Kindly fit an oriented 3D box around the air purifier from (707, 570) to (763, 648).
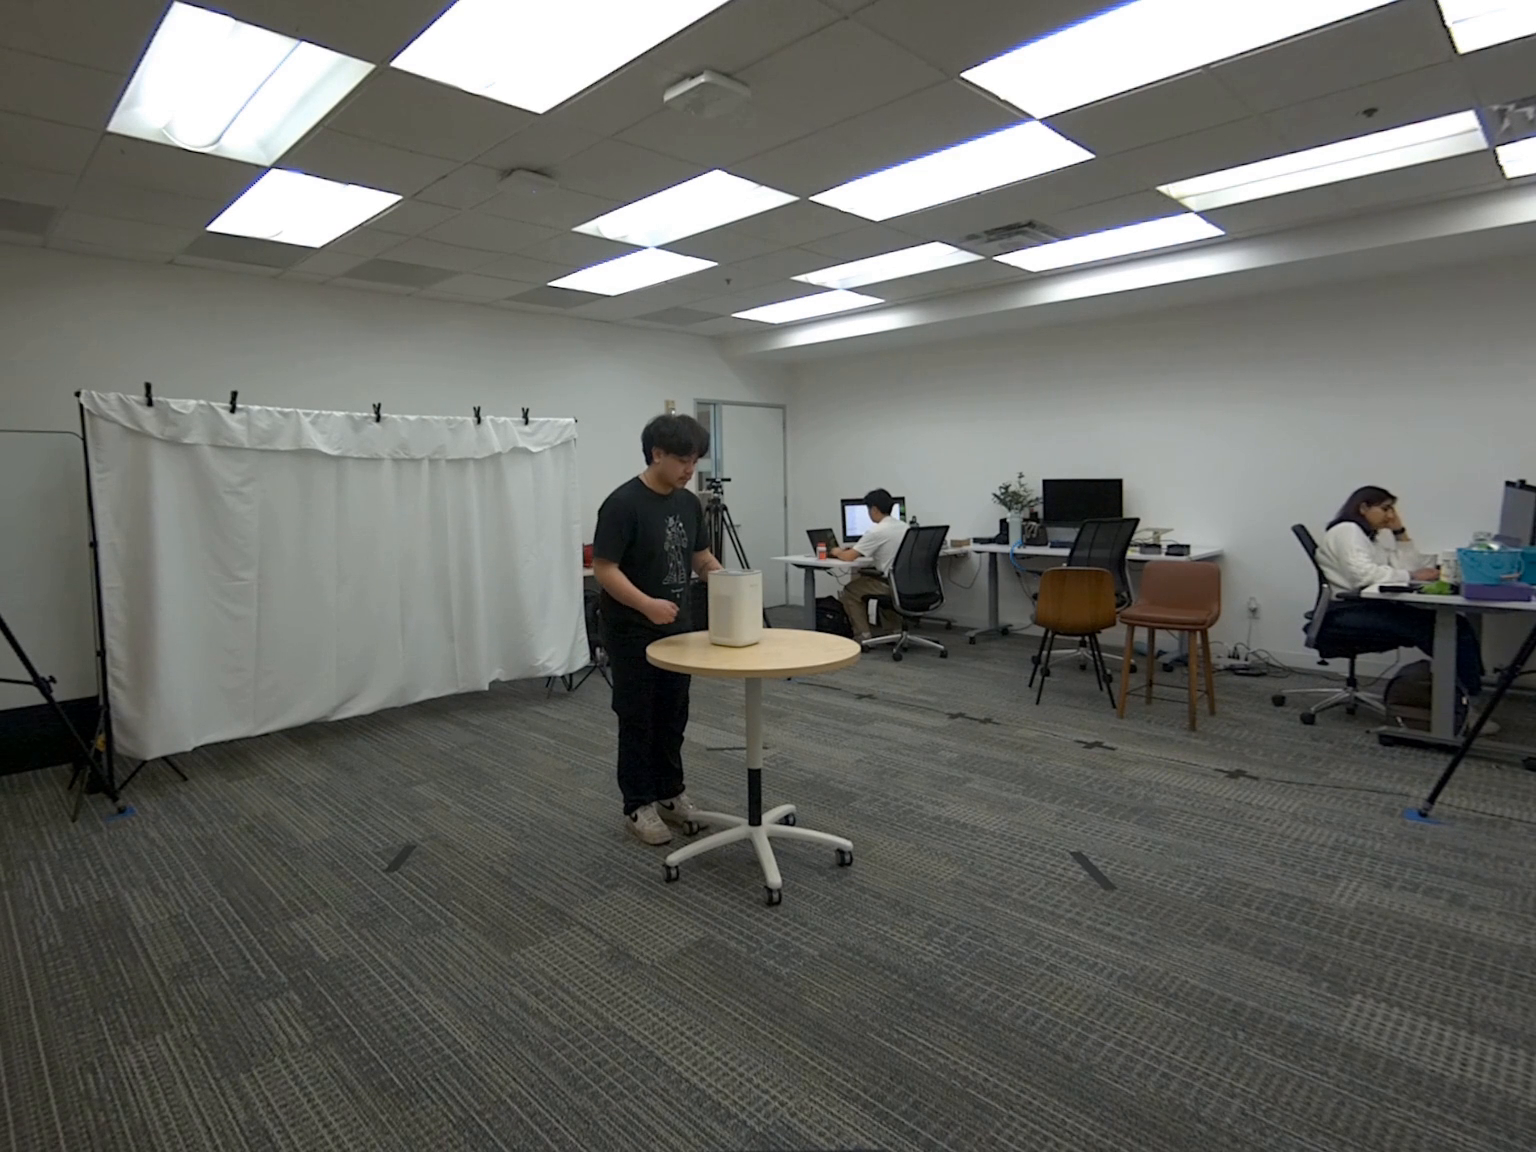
[{"bbox_3d":[-0.119,0.113,3.124,0.176,0.264,0.167,3,5,33],"label":"air purifier"}]
